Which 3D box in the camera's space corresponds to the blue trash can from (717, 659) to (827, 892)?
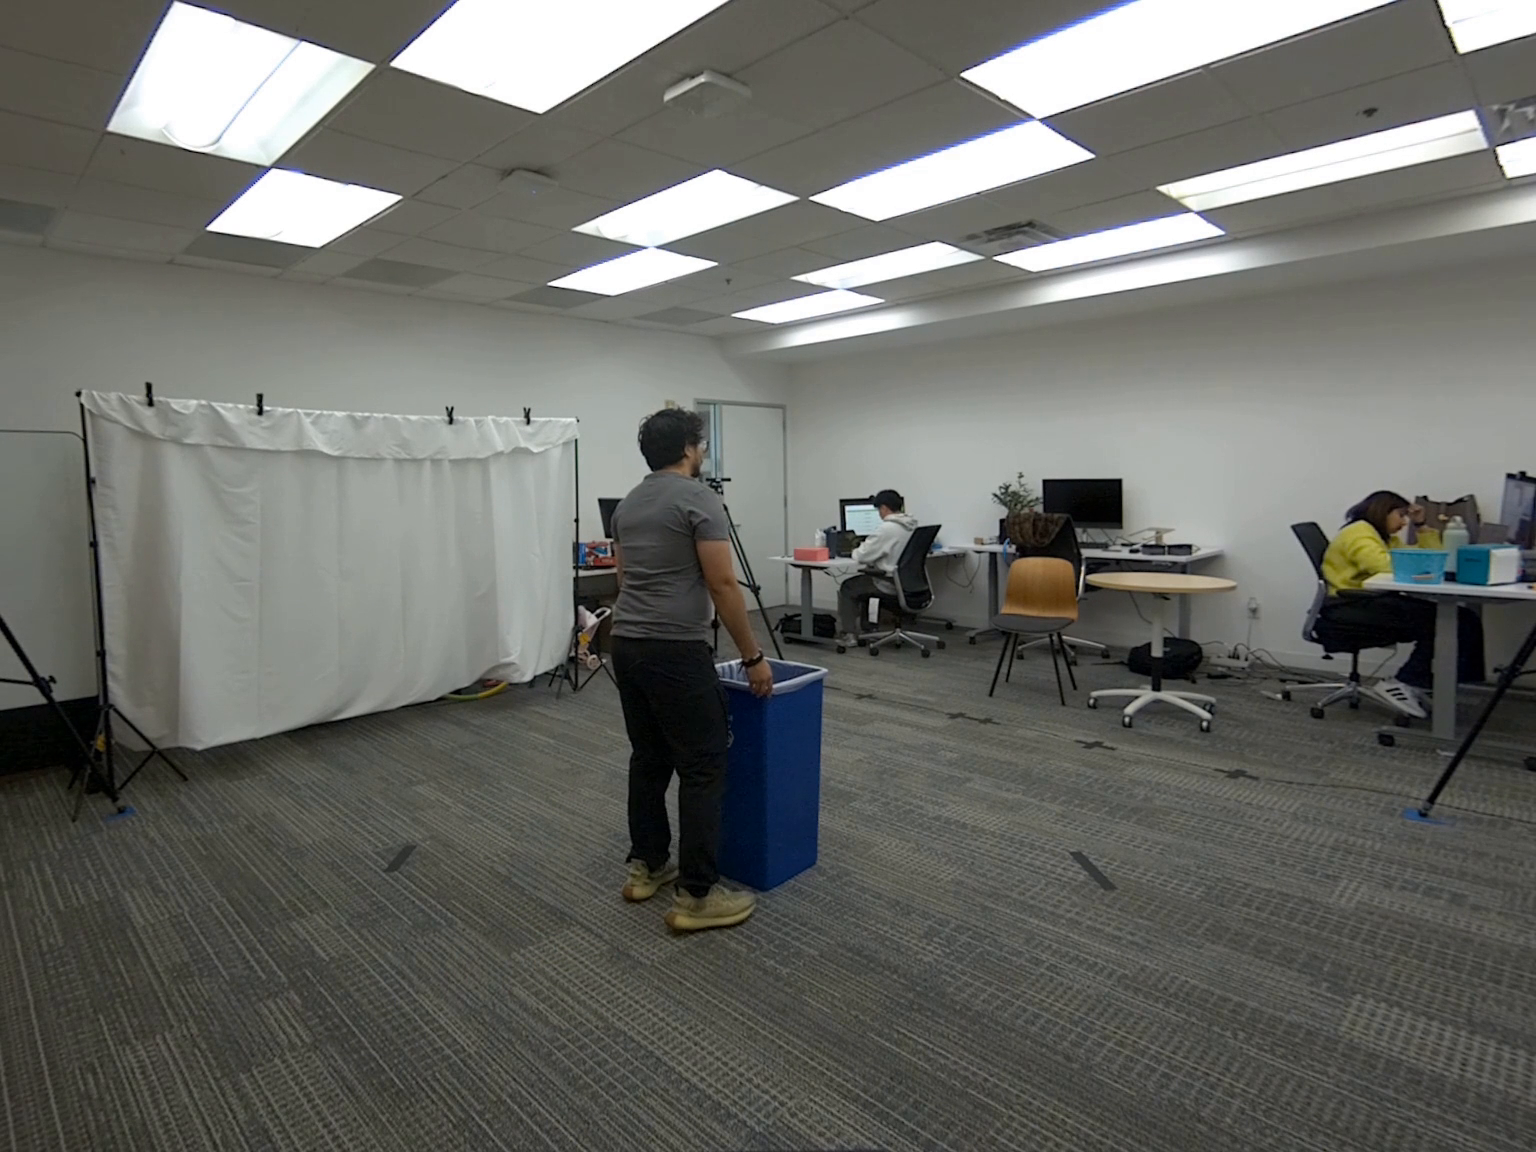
[{"bbox_3d":[-0.019,0.689,3.064,0.385,0.711,0.368,2,5,41],"label":"blue trash can"}]
